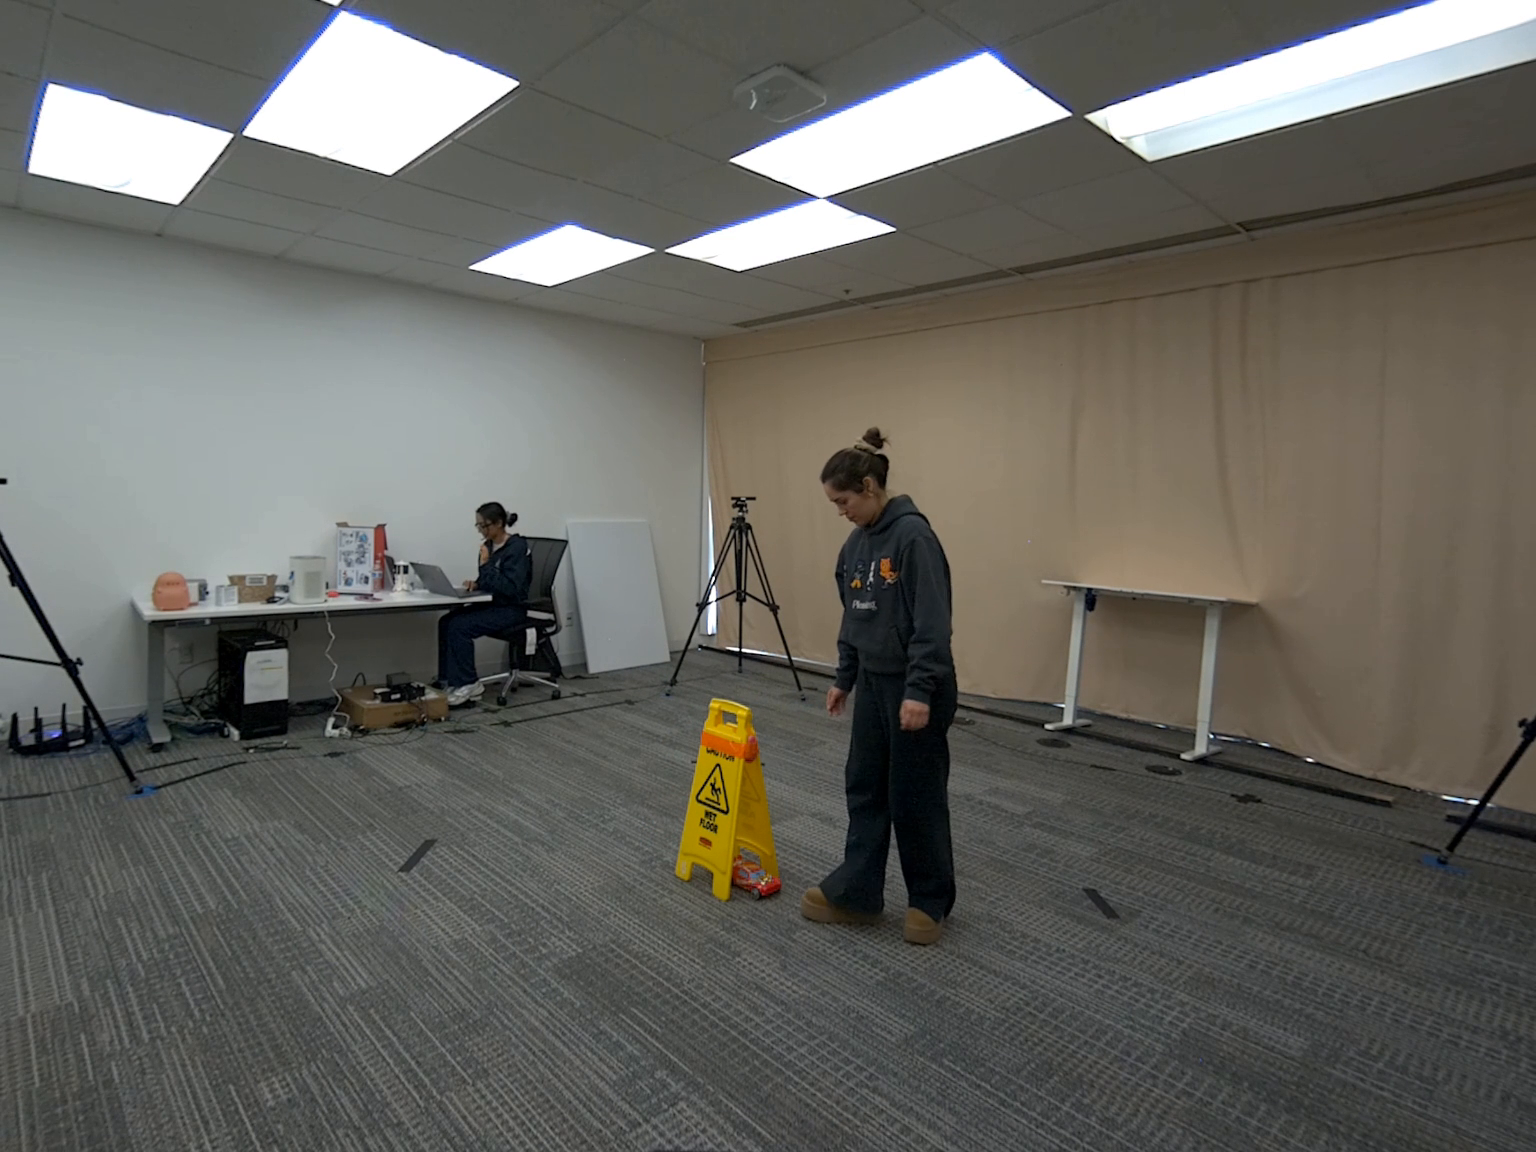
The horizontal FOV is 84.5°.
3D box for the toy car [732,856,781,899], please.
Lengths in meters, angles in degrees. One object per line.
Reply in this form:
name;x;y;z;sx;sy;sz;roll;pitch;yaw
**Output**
toy car;-0.088;1.086;3.027;0.127;0.082;0.262;-4;16;-43
